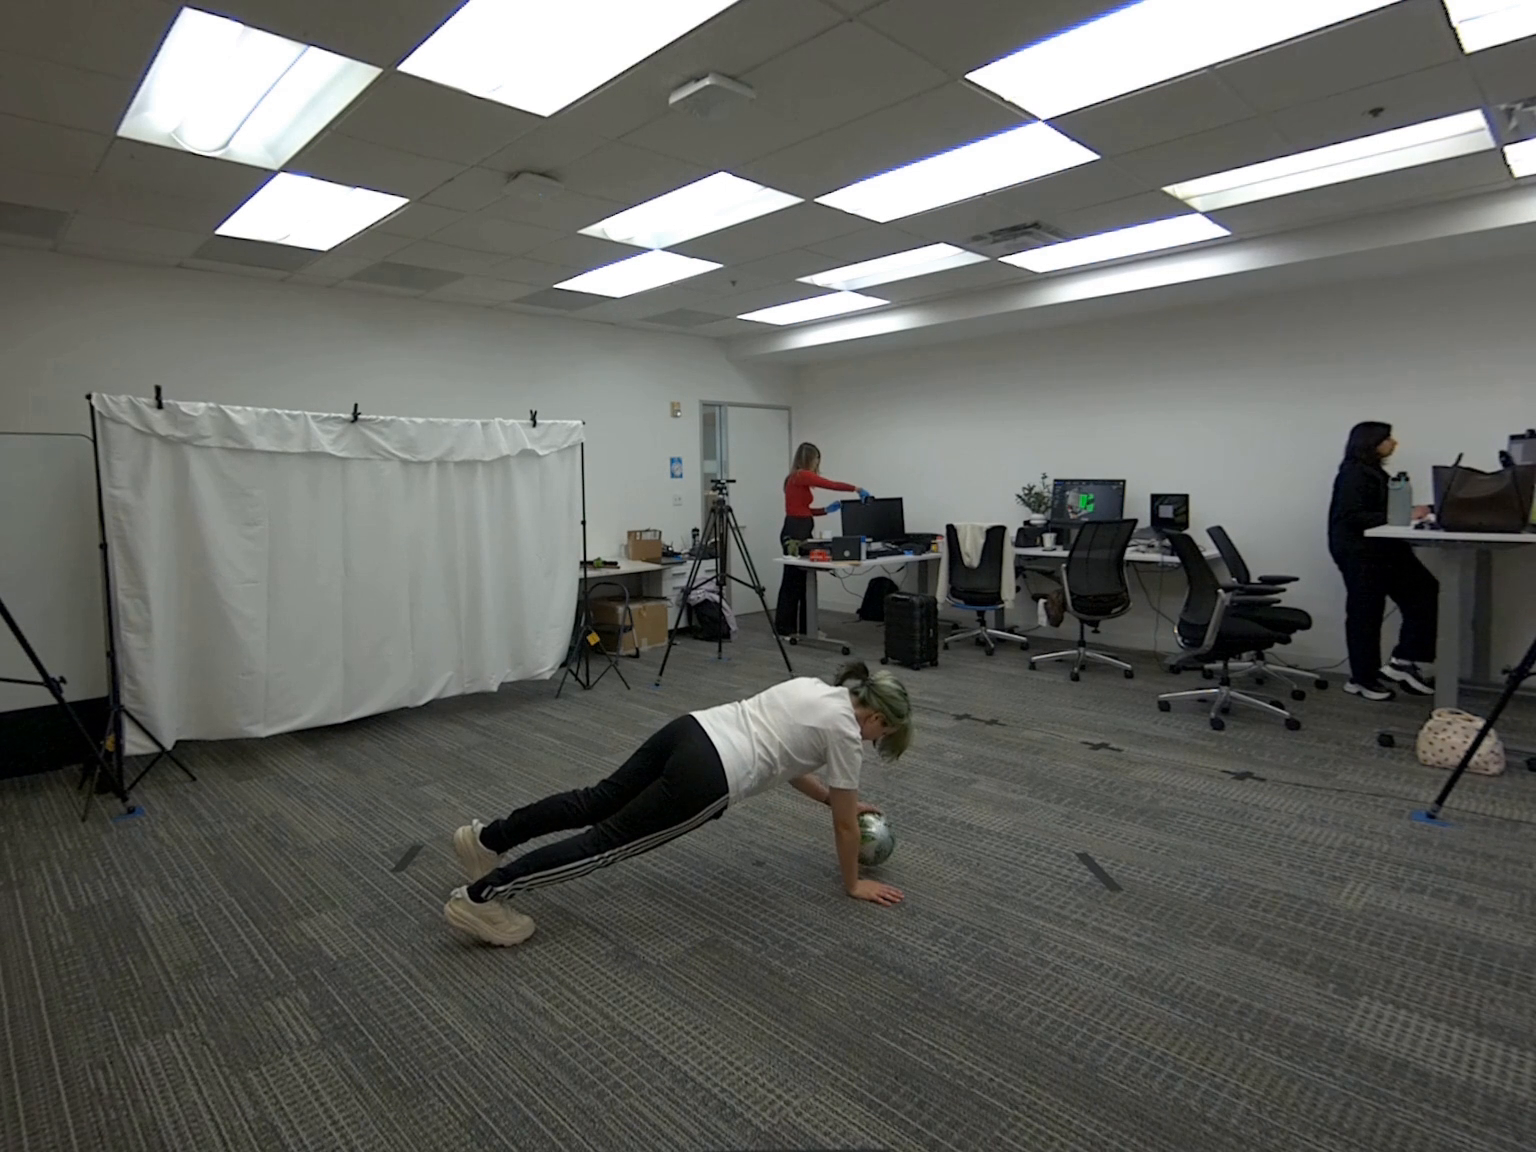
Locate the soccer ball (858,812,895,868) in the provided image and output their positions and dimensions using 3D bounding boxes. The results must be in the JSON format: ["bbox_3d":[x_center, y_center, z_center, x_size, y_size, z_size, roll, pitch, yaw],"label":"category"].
[{"bbox_3d":[0.352,0.922,3.044,0.187,0.187,0.188,-1,5,-2],"label":"soccer ball"}]
